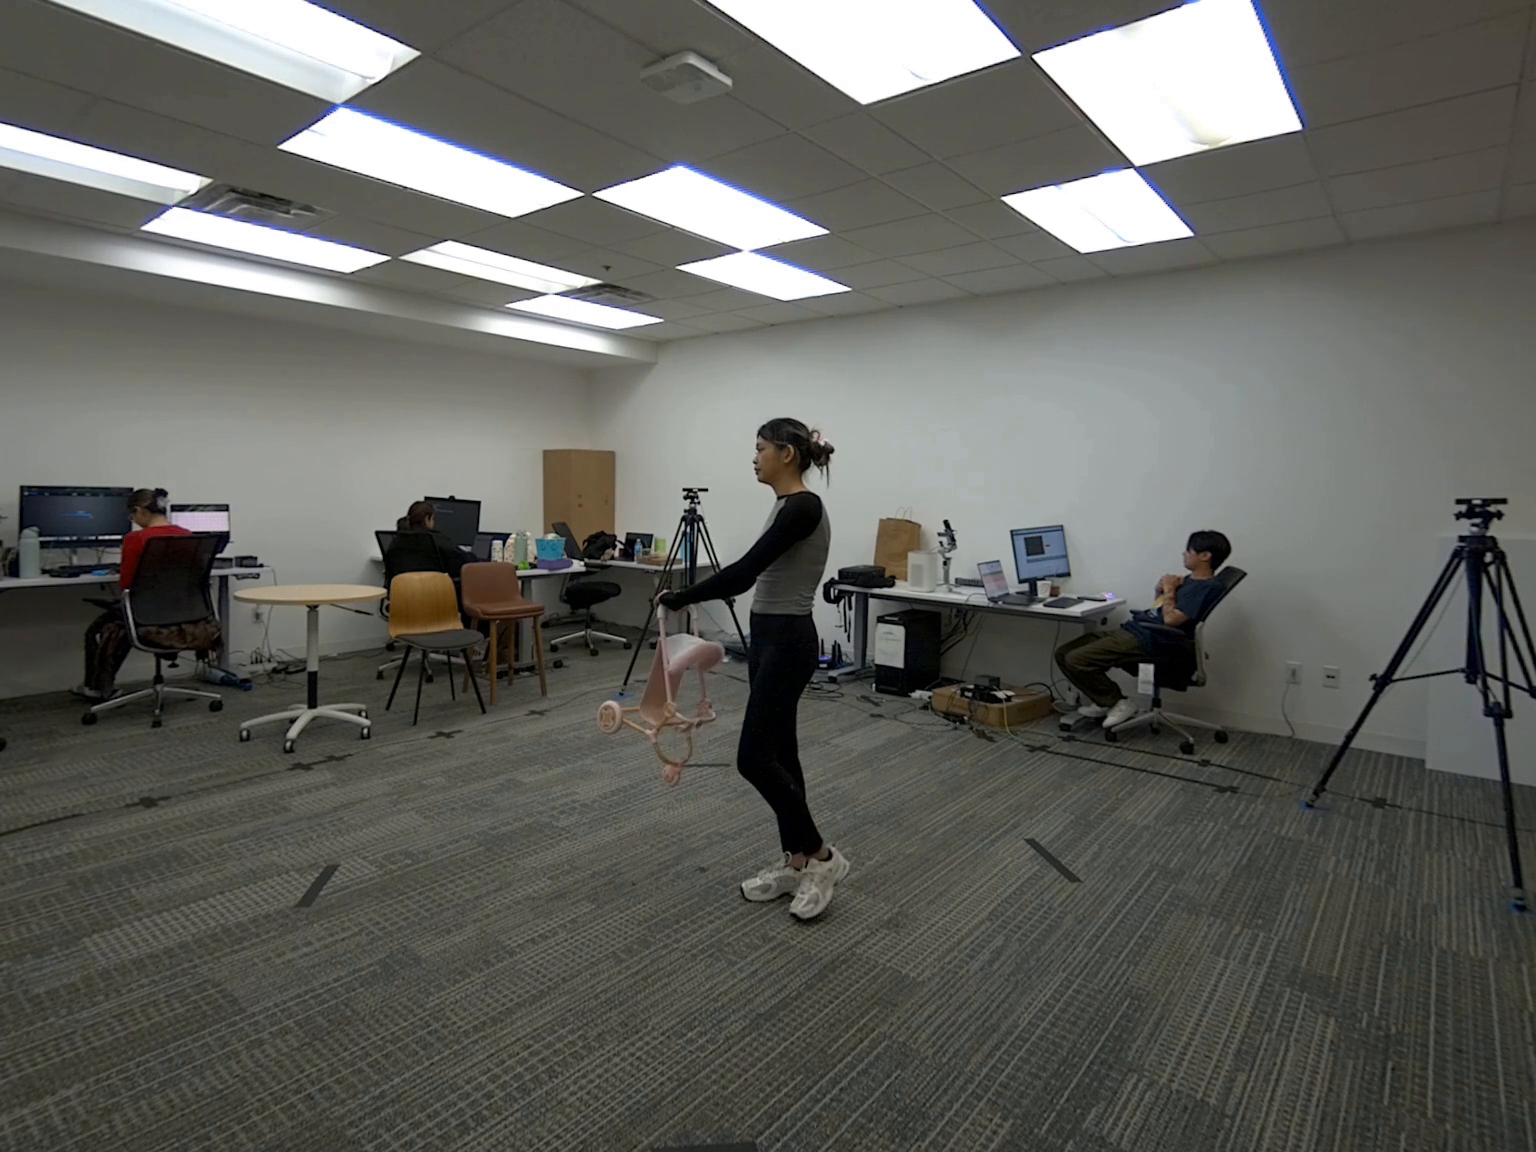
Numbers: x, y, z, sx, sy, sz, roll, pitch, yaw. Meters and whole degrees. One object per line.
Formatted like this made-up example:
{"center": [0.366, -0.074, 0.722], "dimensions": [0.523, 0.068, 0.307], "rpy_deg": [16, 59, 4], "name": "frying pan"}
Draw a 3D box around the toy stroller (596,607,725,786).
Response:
{"center": [-0.328, 0.398, 2.853], "dimensions": [0.355, 0.533, 0.271], "rpy_deg": [33, 11, 36], "name": "toy stroller"}
